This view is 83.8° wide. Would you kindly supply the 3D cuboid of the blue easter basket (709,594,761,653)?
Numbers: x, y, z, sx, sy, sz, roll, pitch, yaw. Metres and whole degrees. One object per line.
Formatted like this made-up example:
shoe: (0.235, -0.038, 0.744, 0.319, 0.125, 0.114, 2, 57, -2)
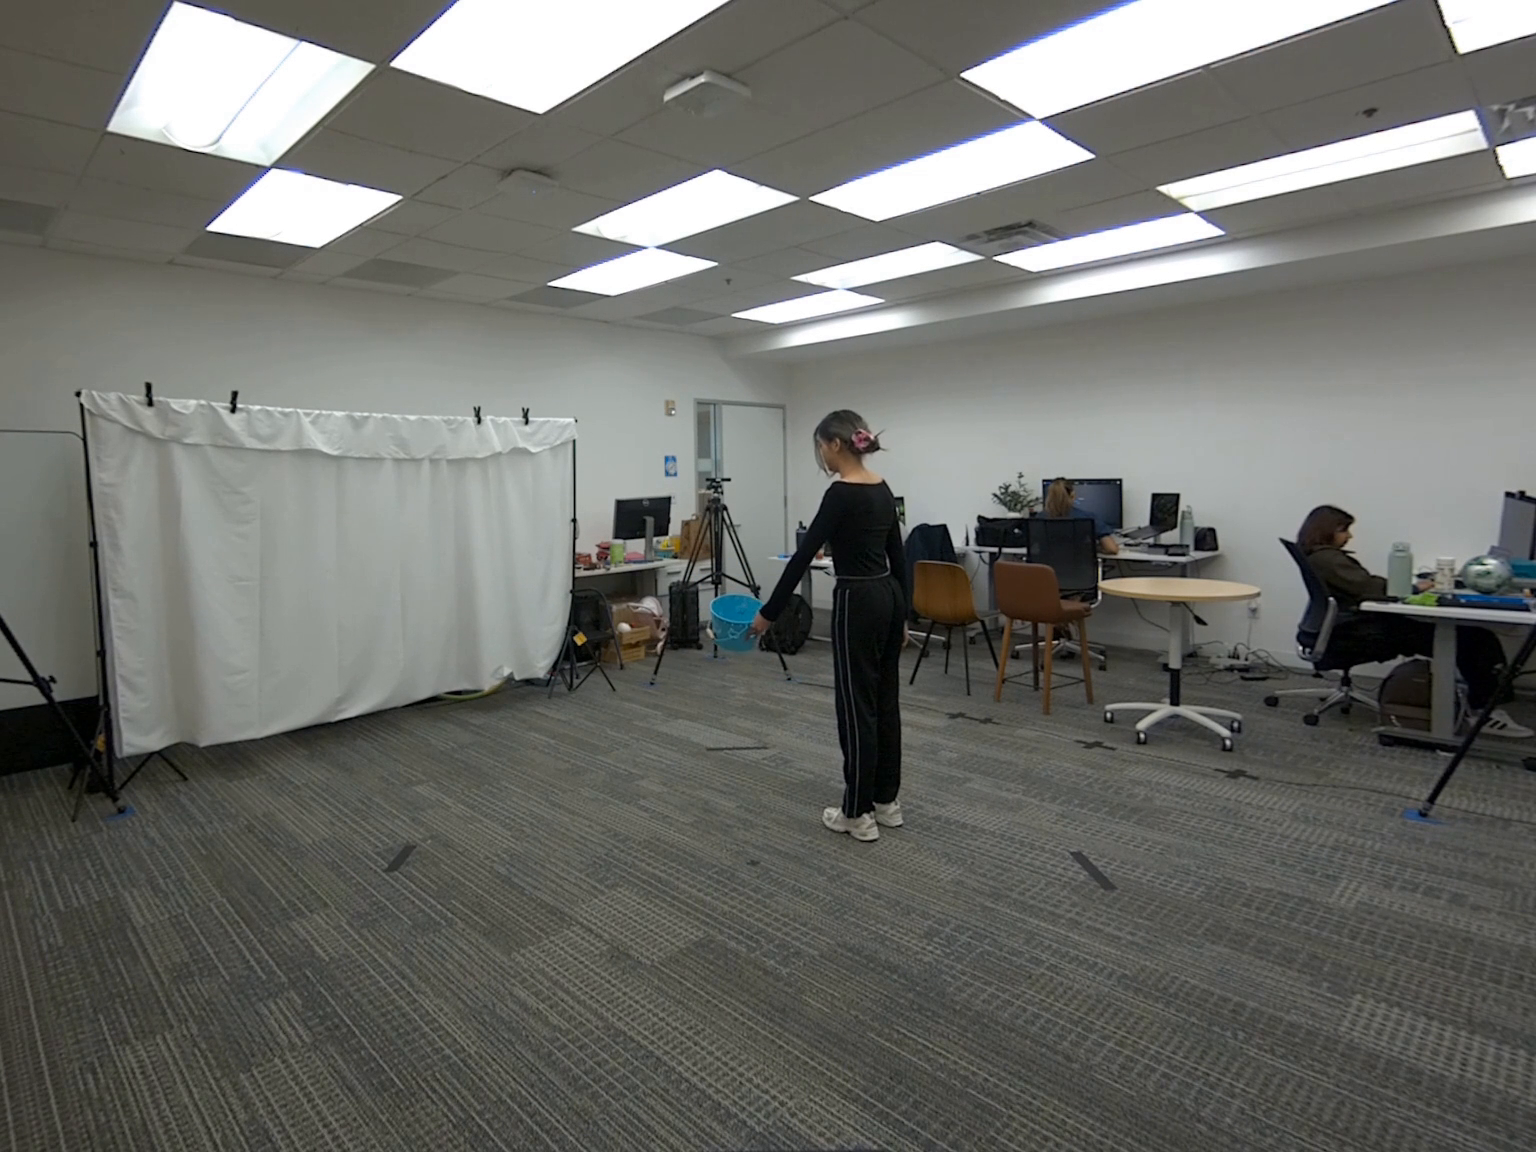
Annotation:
blue easter basket: (-0.120, 0.194, 3.444, 0.243, 0.153, 0.249, 4, 24, -4)
